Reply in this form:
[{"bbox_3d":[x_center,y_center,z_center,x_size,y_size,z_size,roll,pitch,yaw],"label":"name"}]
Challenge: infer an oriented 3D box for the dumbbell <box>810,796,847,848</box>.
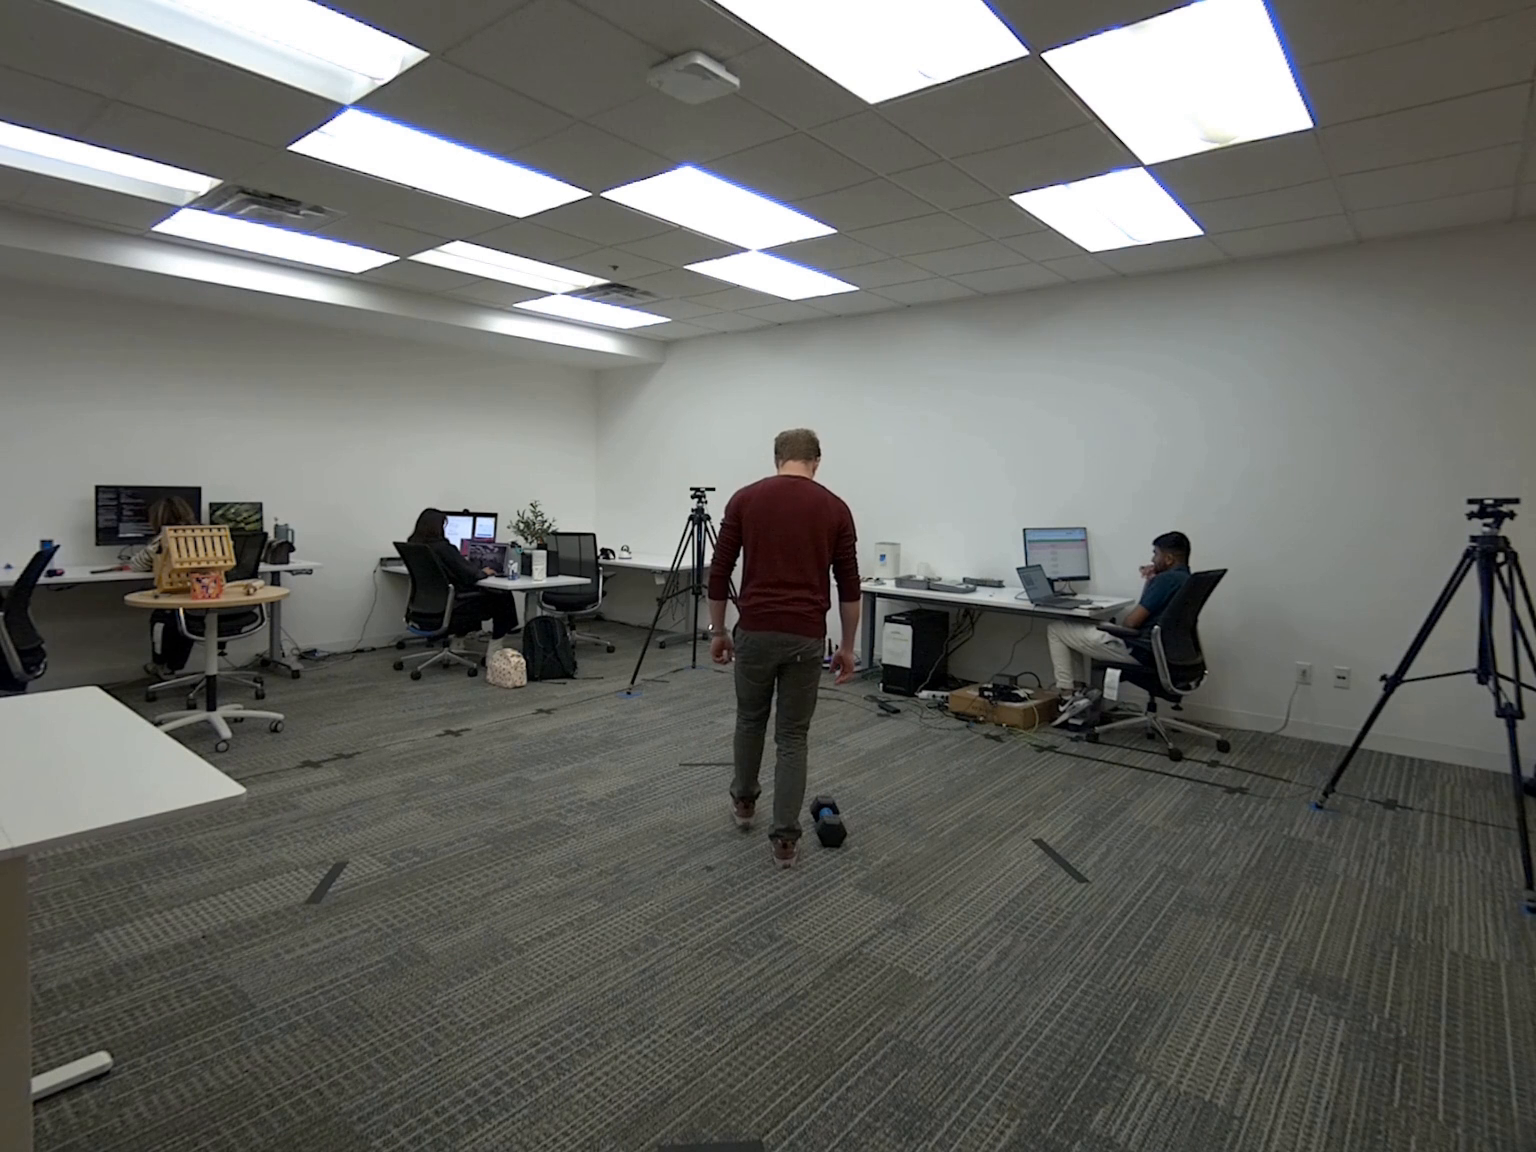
[{"bbox_3d":[0.242,0.993,3.454,0.109,0.122,0.294,-30,4,2],"label":"dumbbell"}]
